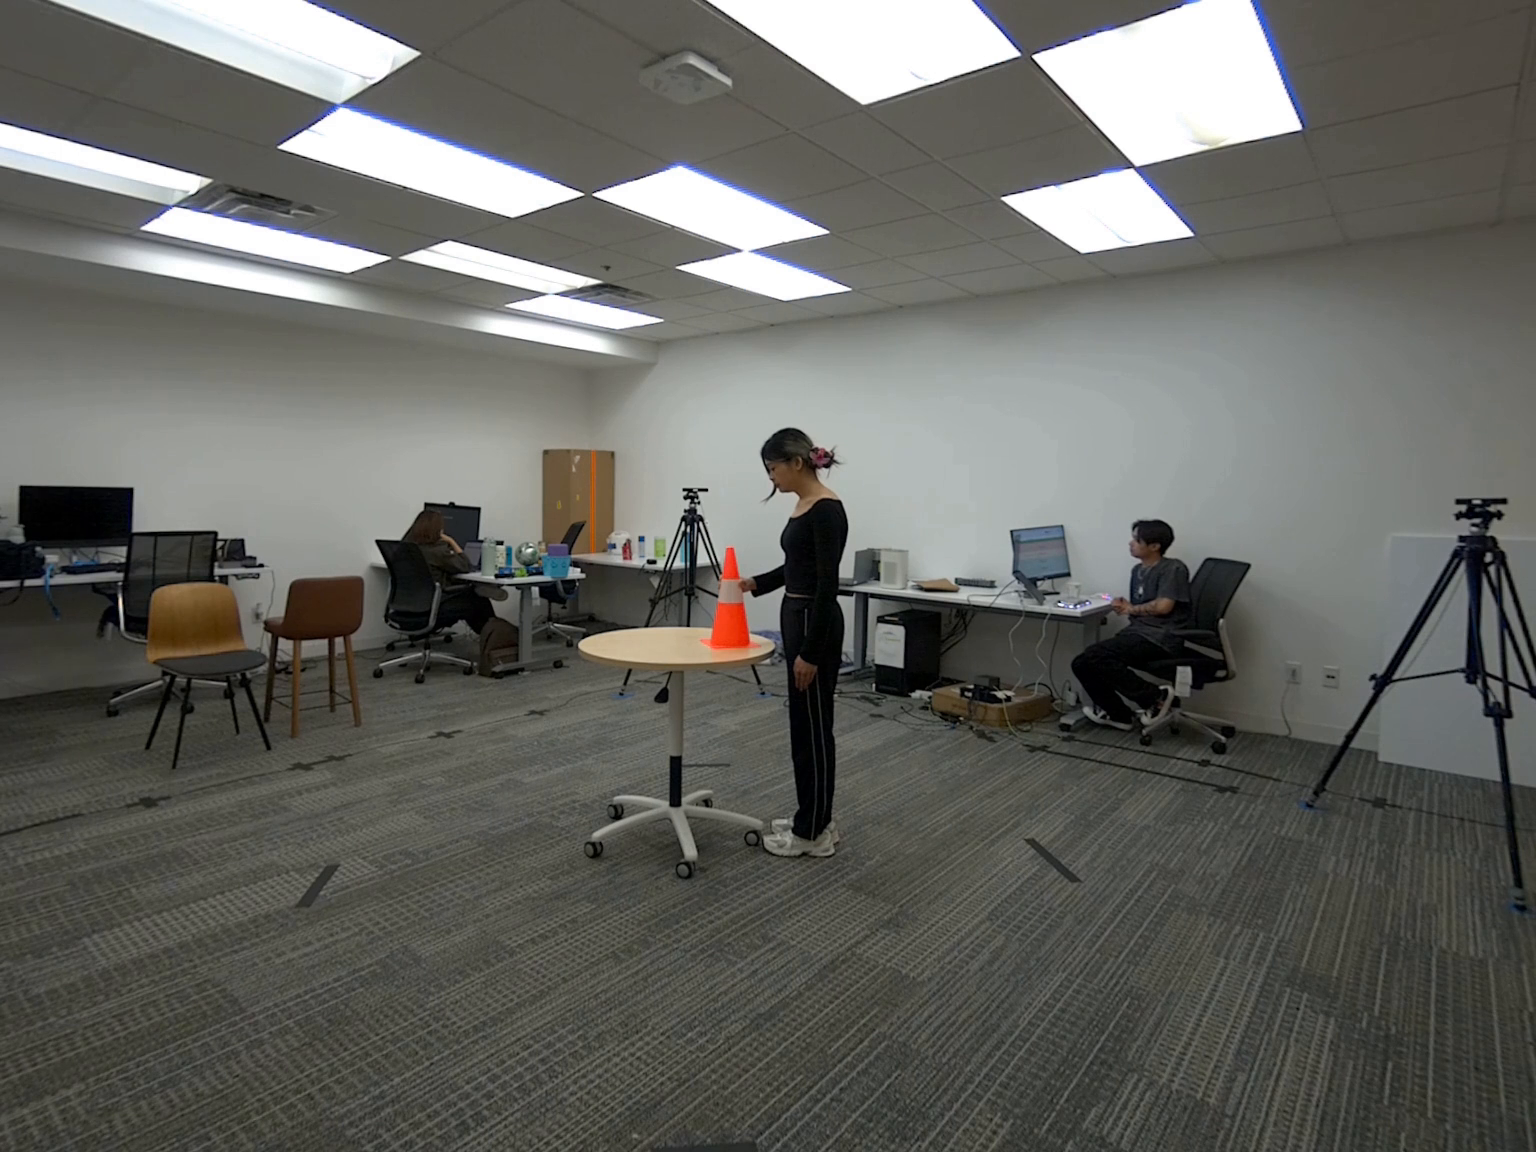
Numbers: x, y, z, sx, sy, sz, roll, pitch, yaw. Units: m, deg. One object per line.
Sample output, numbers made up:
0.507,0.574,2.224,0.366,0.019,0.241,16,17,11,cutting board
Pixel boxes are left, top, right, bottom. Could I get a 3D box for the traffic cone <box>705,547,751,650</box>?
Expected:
-0.153,0.076,3.338,0.200,0.383,0.209,1,3,-16,traffic cone
